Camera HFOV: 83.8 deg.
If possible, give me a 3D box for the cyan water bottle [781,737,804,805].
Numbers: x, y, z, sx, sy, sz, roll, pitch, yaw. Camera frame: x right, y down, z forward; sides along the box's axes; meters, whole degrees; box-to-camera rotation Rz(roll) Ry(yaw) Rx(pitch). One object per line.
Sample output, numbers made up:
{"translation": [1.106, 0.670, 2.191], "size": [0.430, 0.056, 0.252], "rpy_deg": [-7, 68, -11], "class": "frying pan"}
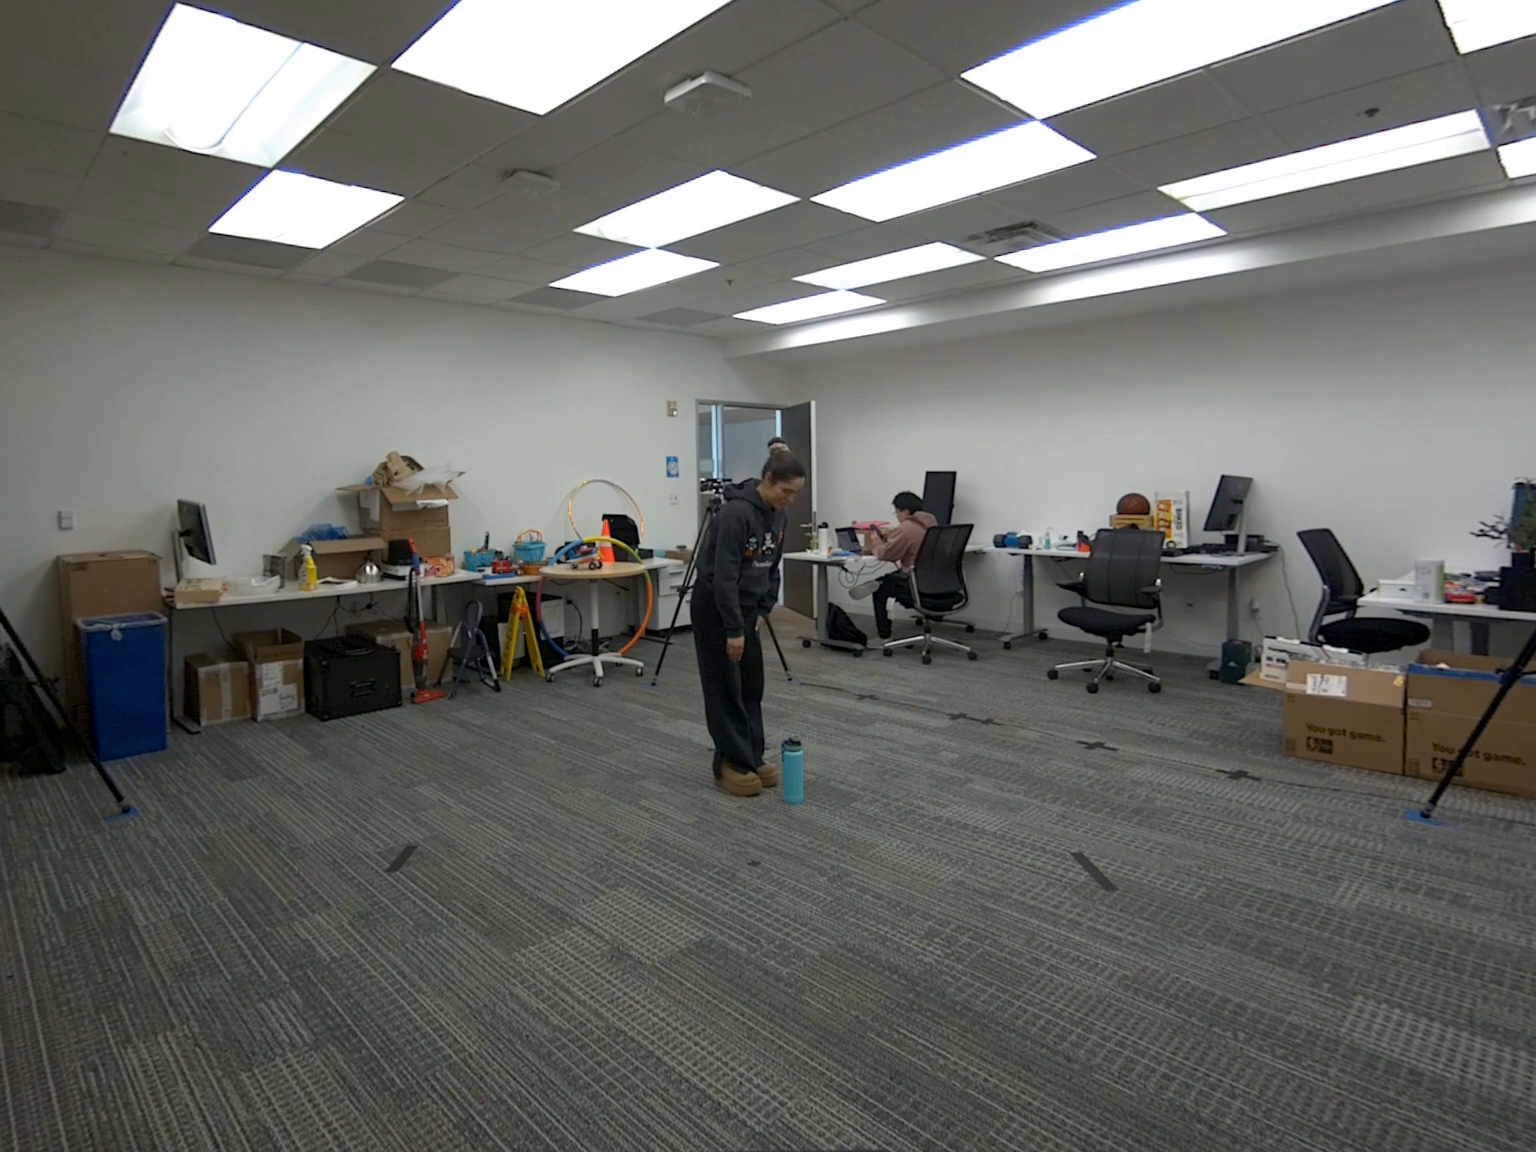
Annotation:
{"translation": [0.109, 0.839, 3.684], "size": [0.092, 0.283, 0.092], "rpy_deg": [-4, 3, -1], "class": "cyan water bottle"}
